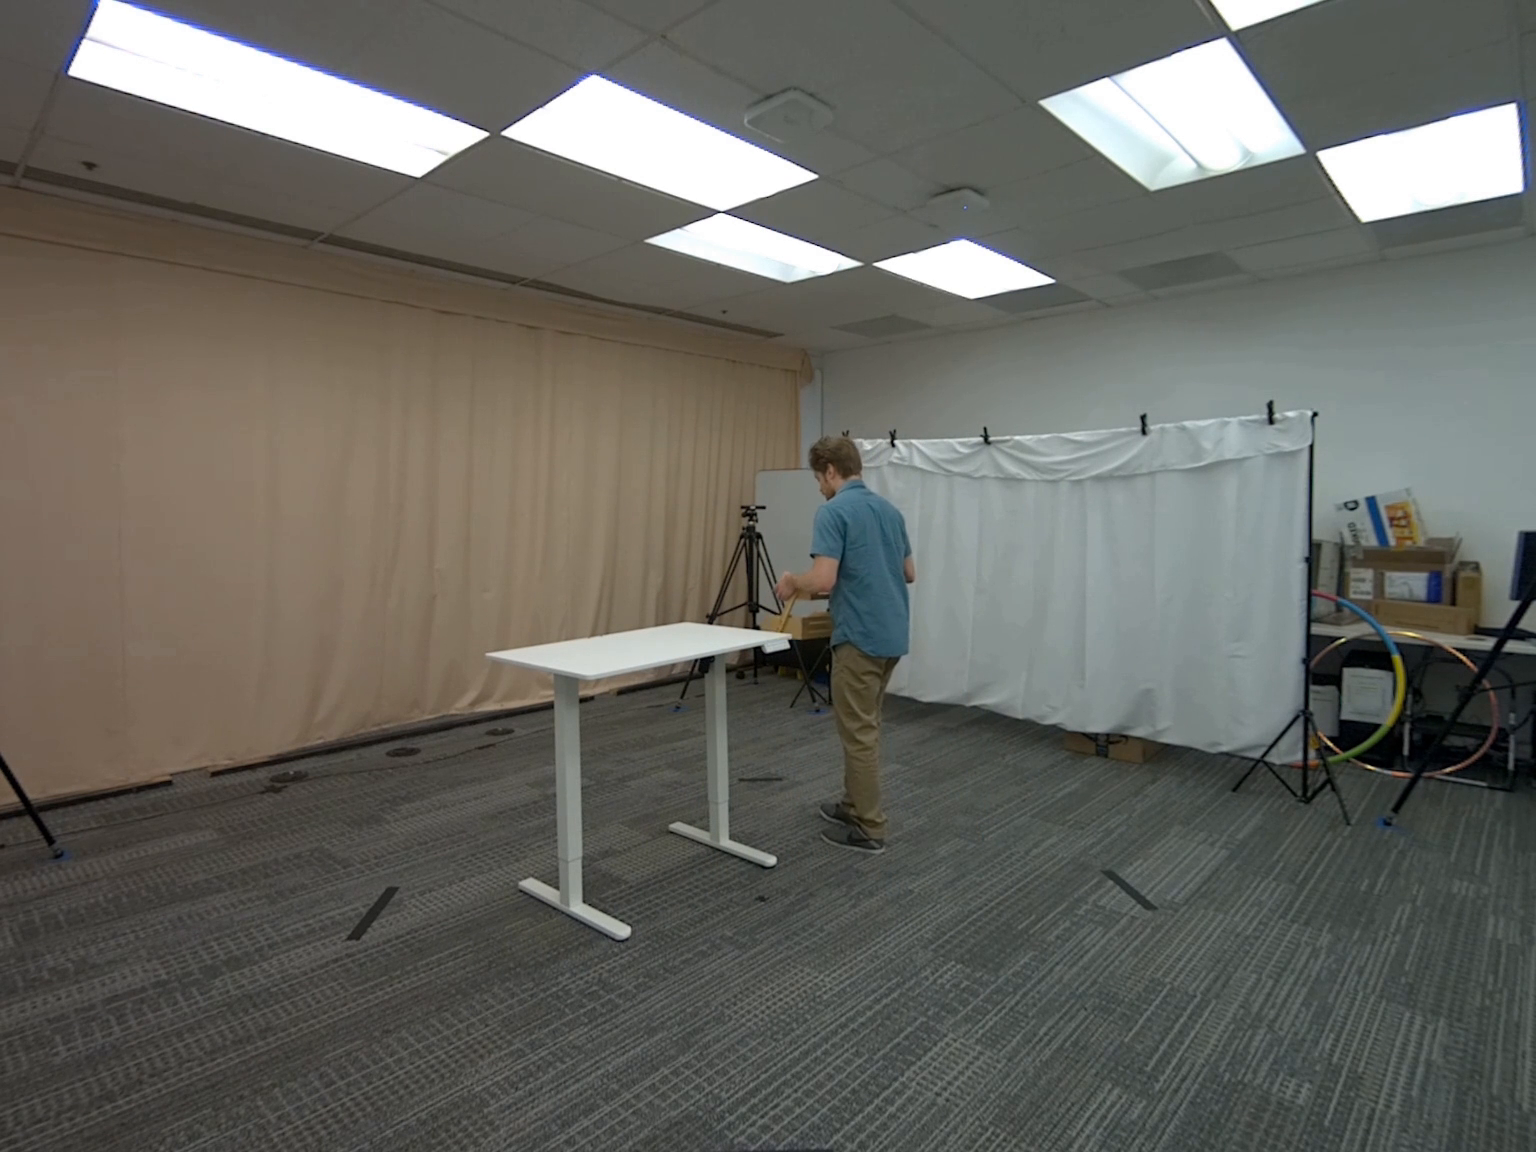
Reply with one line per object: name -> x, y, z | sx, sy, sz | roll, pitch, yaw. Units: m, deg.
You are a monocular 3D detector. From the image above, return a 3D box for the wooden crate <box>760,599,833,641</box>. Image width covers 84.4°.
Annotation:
wooden crate -> 0.172, 0.125, 3.692 | 0.314, 0.273, 0.312 | -2, 3, -45
